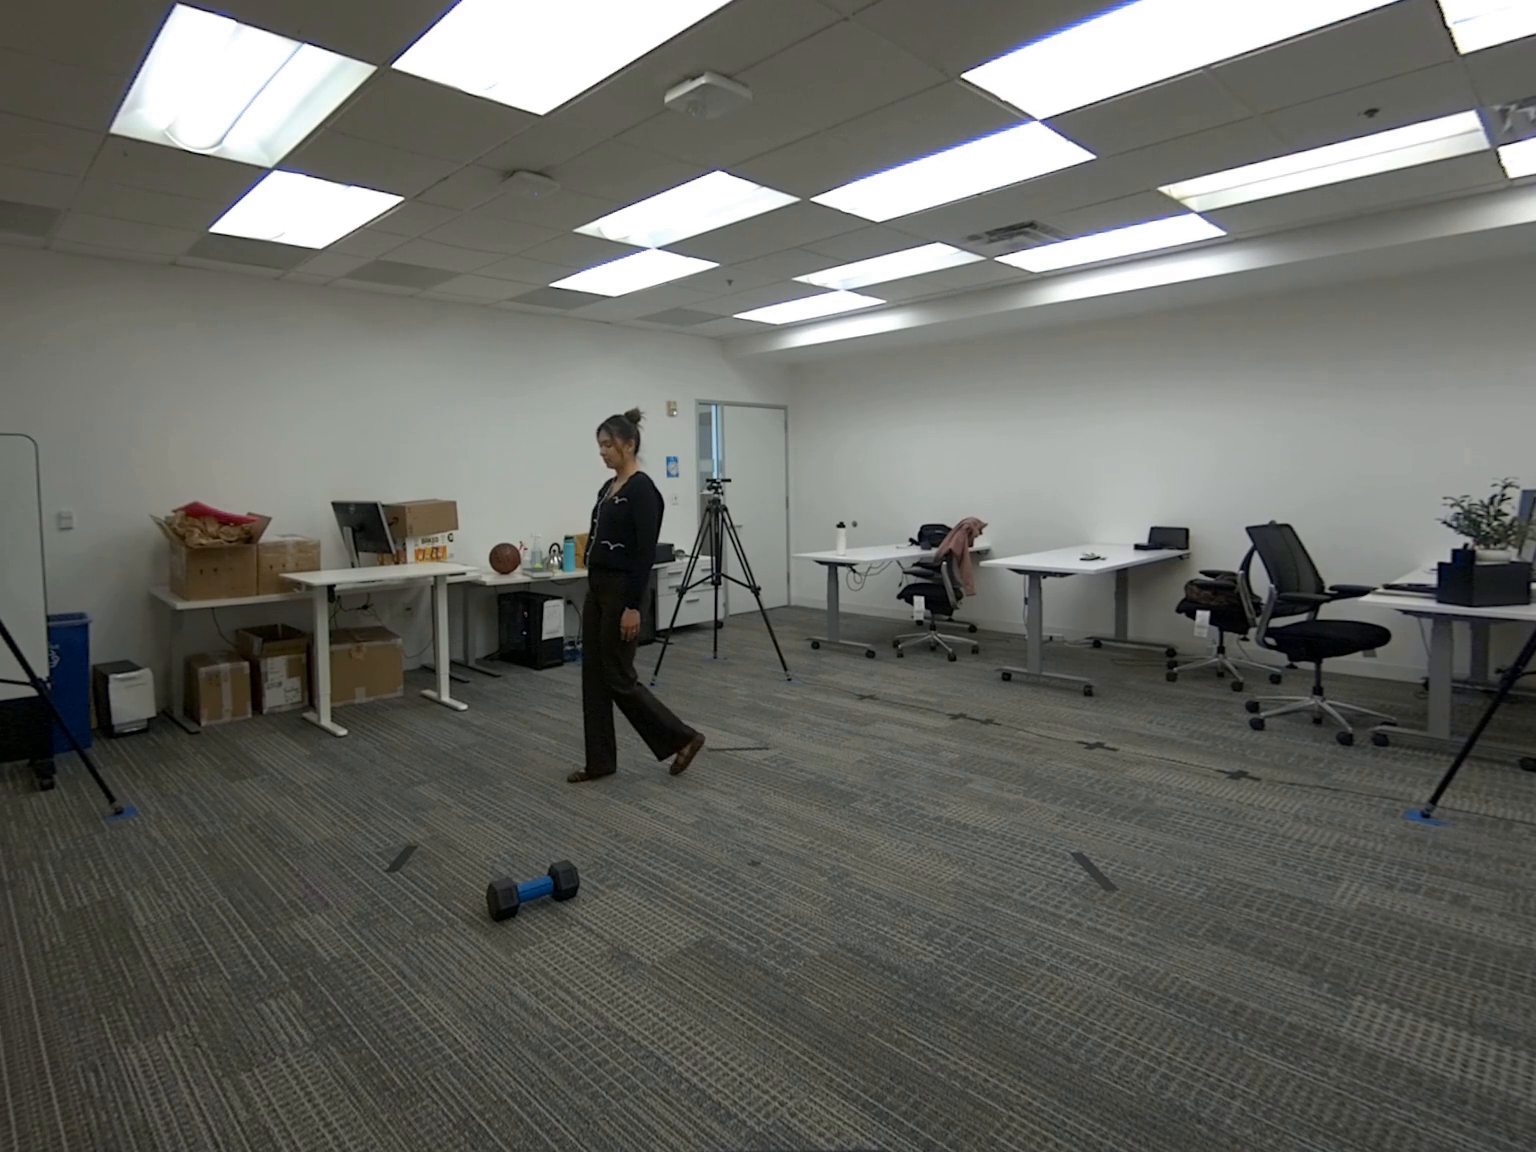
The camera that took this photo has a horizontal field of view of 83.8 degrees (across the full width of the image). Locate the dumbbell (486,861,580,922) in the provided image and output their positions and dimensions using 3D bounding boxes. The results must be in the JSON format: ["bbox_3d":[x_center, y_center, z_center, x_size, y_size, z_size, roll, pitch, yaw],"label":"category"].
[{"bbox_3d":[-0.774,1.039,2.823,0.286,0.126,0.109,-5,-24,-35],"label":"dumbbell"}]
